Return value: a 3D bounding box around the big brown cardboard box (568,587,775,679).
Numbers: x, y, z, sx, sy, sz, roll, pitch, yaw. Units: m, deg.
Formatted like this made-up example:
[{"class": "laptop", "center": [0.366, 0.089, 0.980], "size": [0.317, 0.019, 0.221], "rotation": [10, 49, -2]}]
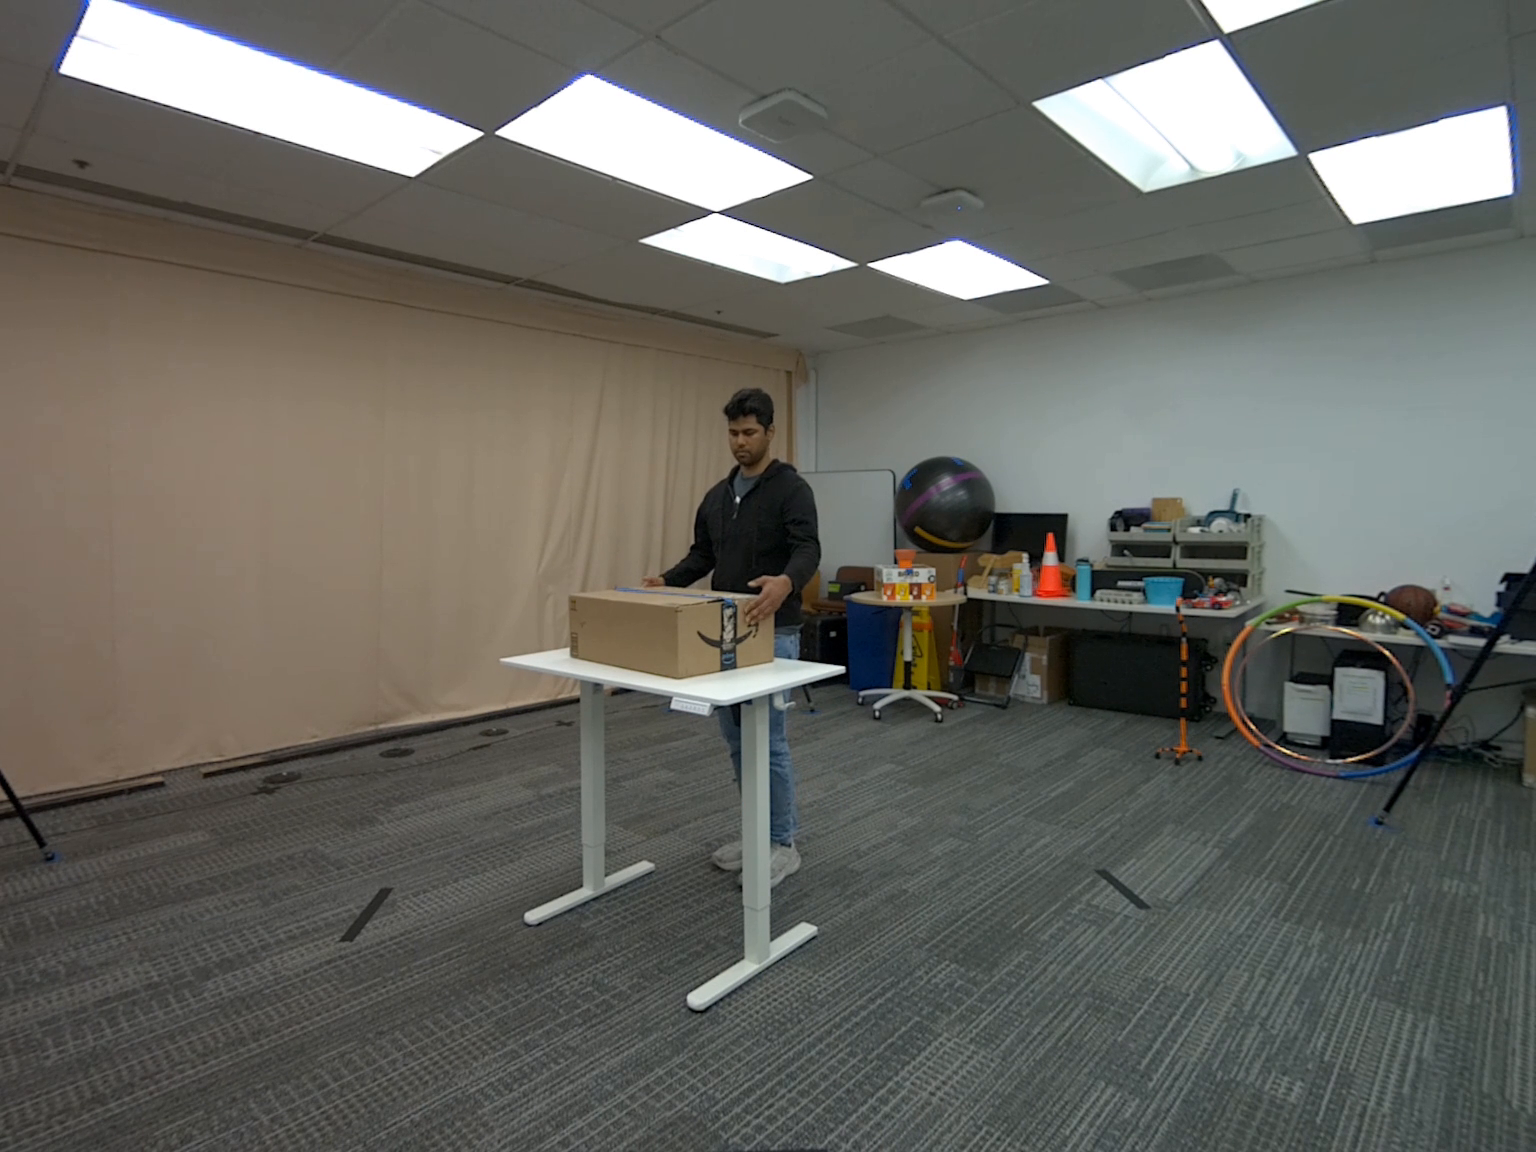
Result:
[{"class": "big brown cardboard box", "center": [-0.321, 0.169, 2.802], "size": [0.608, 0.233, 0.405], "rotation": [2, 5, 45]}]
